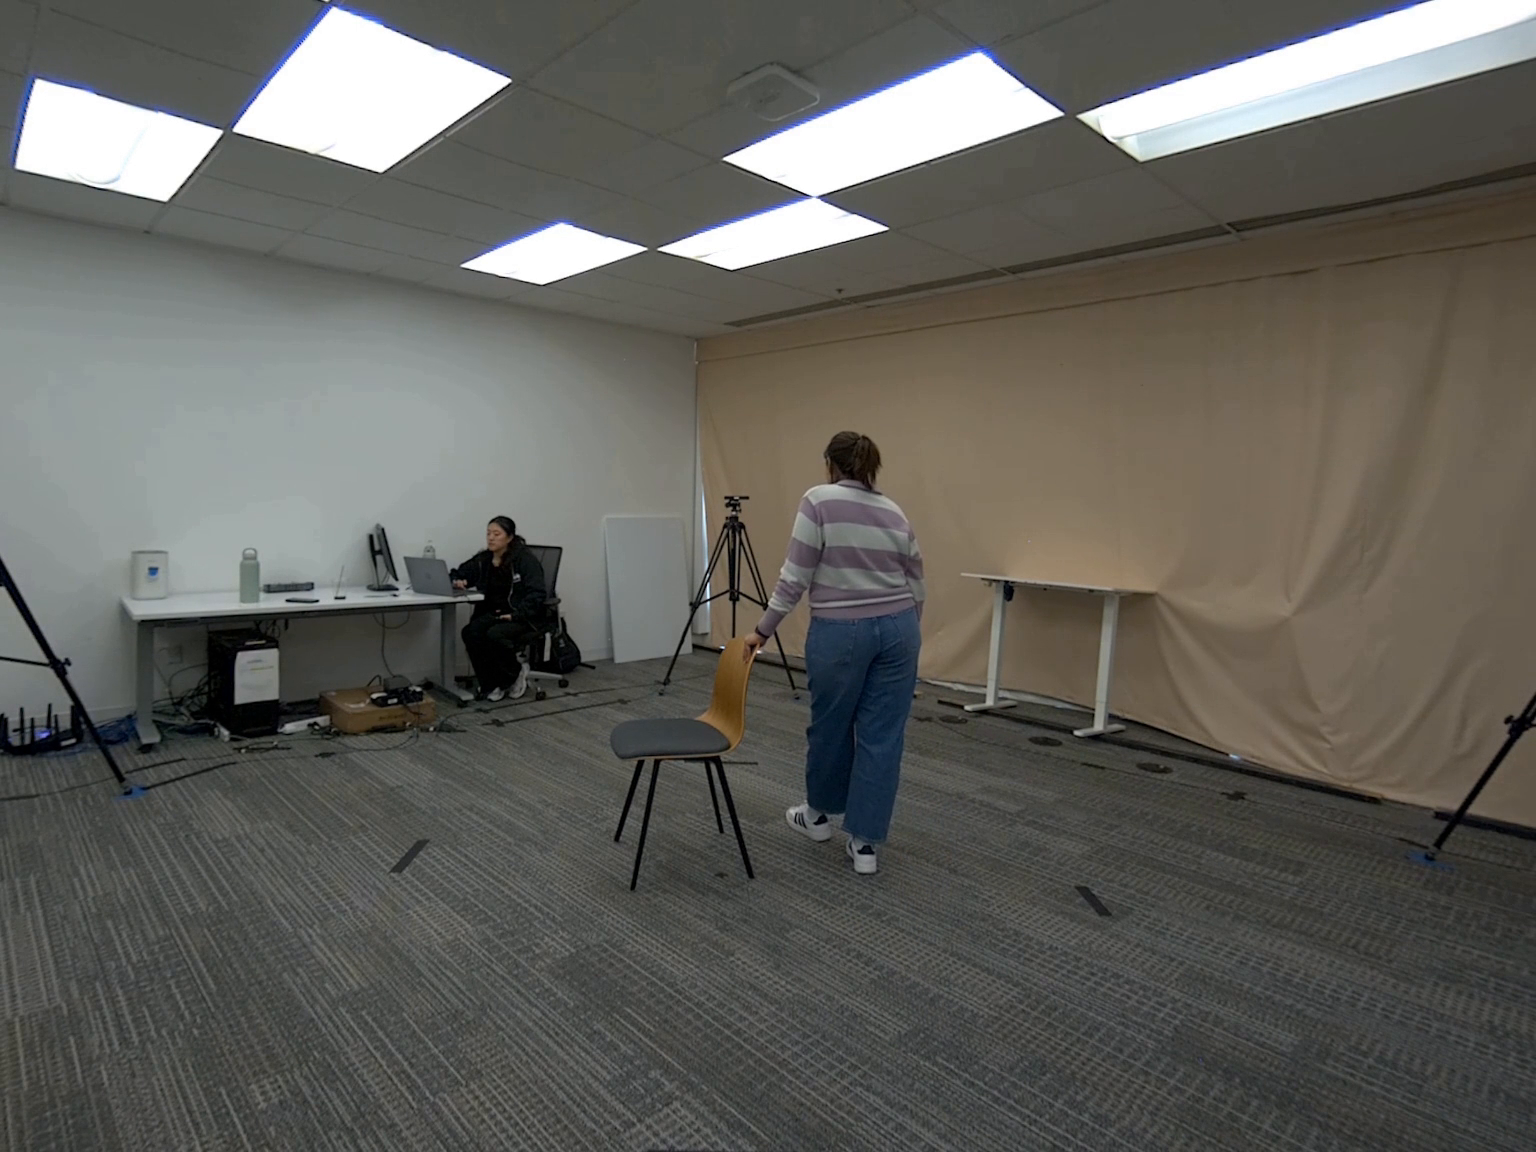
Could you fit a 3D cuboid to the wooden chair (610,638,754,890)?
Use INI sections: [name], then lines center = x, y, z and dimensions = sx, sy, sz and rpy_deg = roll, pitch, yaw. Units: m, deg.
[wooden chair]
center = -0.337, 0.662, 3.196
dimensions = 0.516, 0.876, 0.485
rpy_deg = 5, 2, -17
